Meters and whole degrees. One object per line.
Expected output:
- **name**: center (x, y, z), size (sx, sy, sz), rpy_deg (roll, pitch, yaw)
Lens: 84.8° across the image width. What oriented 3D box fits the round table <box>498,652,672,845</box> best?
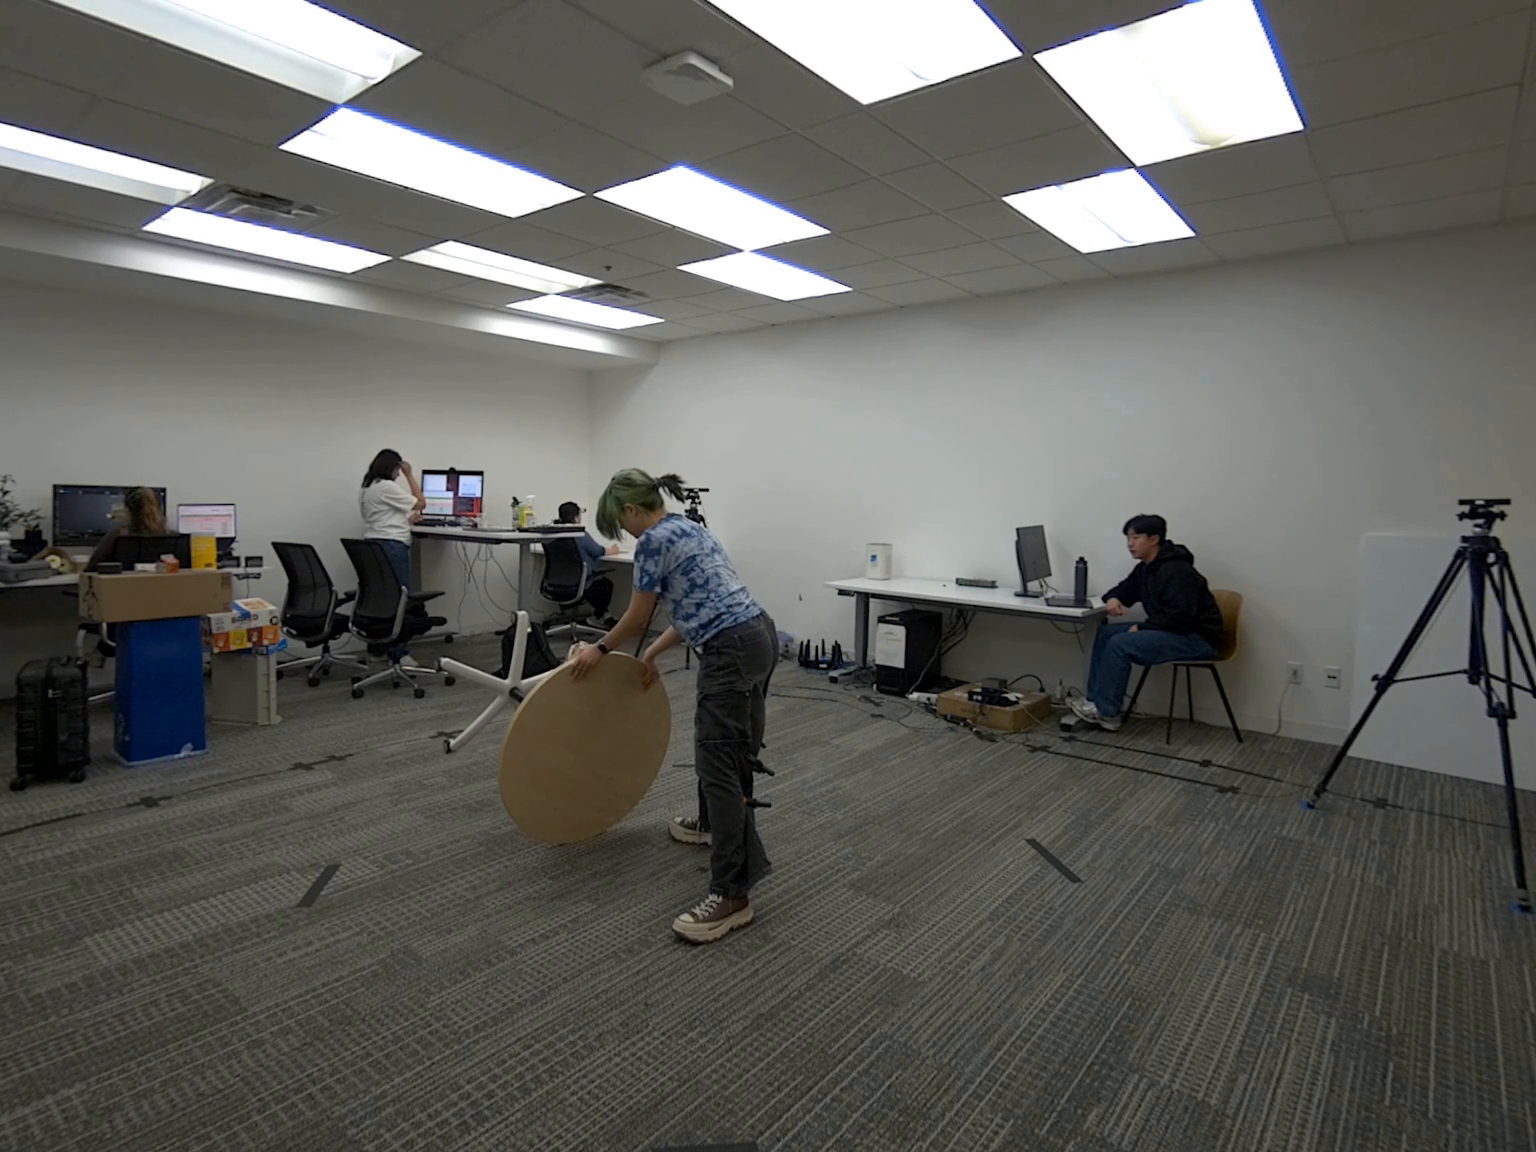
- **round table**: center (-0.970, 0.584, 3.594), size (0.741, 0.758, 0.825), rpy_deg (-3, 14, -42)
